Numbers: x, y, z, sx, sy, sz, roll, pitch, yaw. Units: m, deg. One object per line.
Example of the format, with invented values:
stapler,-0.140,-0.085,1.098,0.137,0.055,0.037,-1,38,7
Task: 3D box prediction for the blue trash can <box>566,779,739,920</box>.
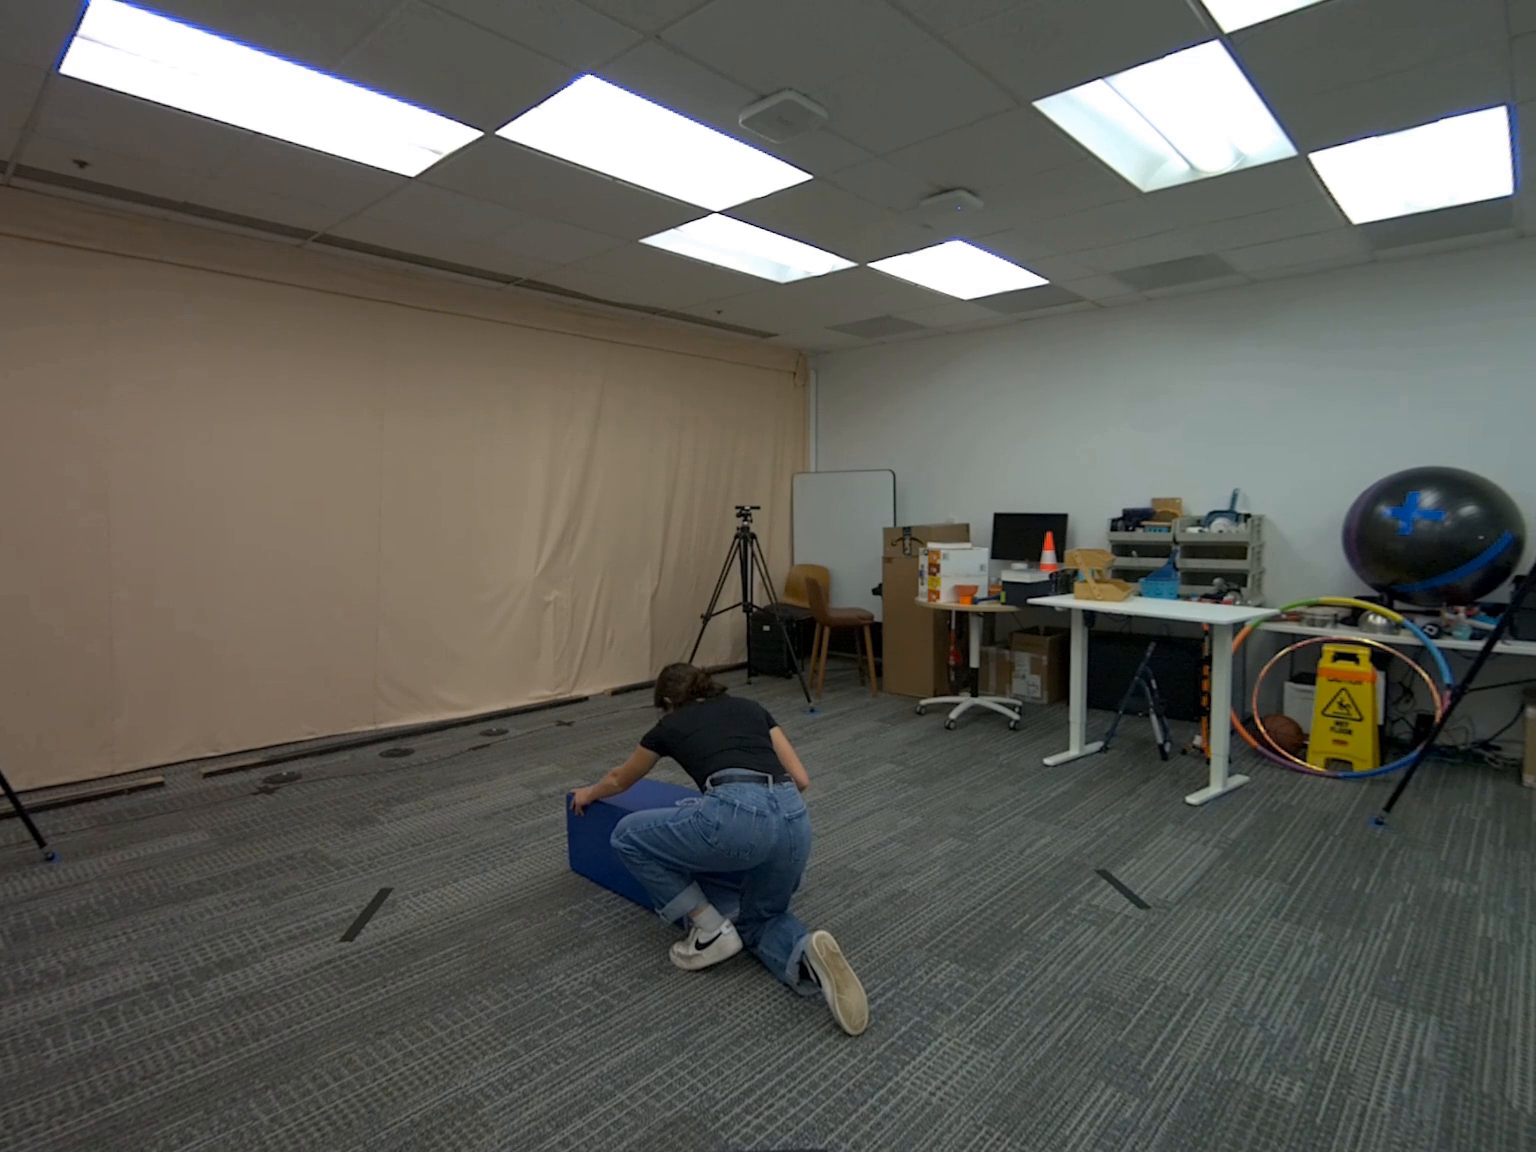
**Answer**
blue trash can,-0.407,0.977,3.078,0.736,0.377,0.363,0,3,42
